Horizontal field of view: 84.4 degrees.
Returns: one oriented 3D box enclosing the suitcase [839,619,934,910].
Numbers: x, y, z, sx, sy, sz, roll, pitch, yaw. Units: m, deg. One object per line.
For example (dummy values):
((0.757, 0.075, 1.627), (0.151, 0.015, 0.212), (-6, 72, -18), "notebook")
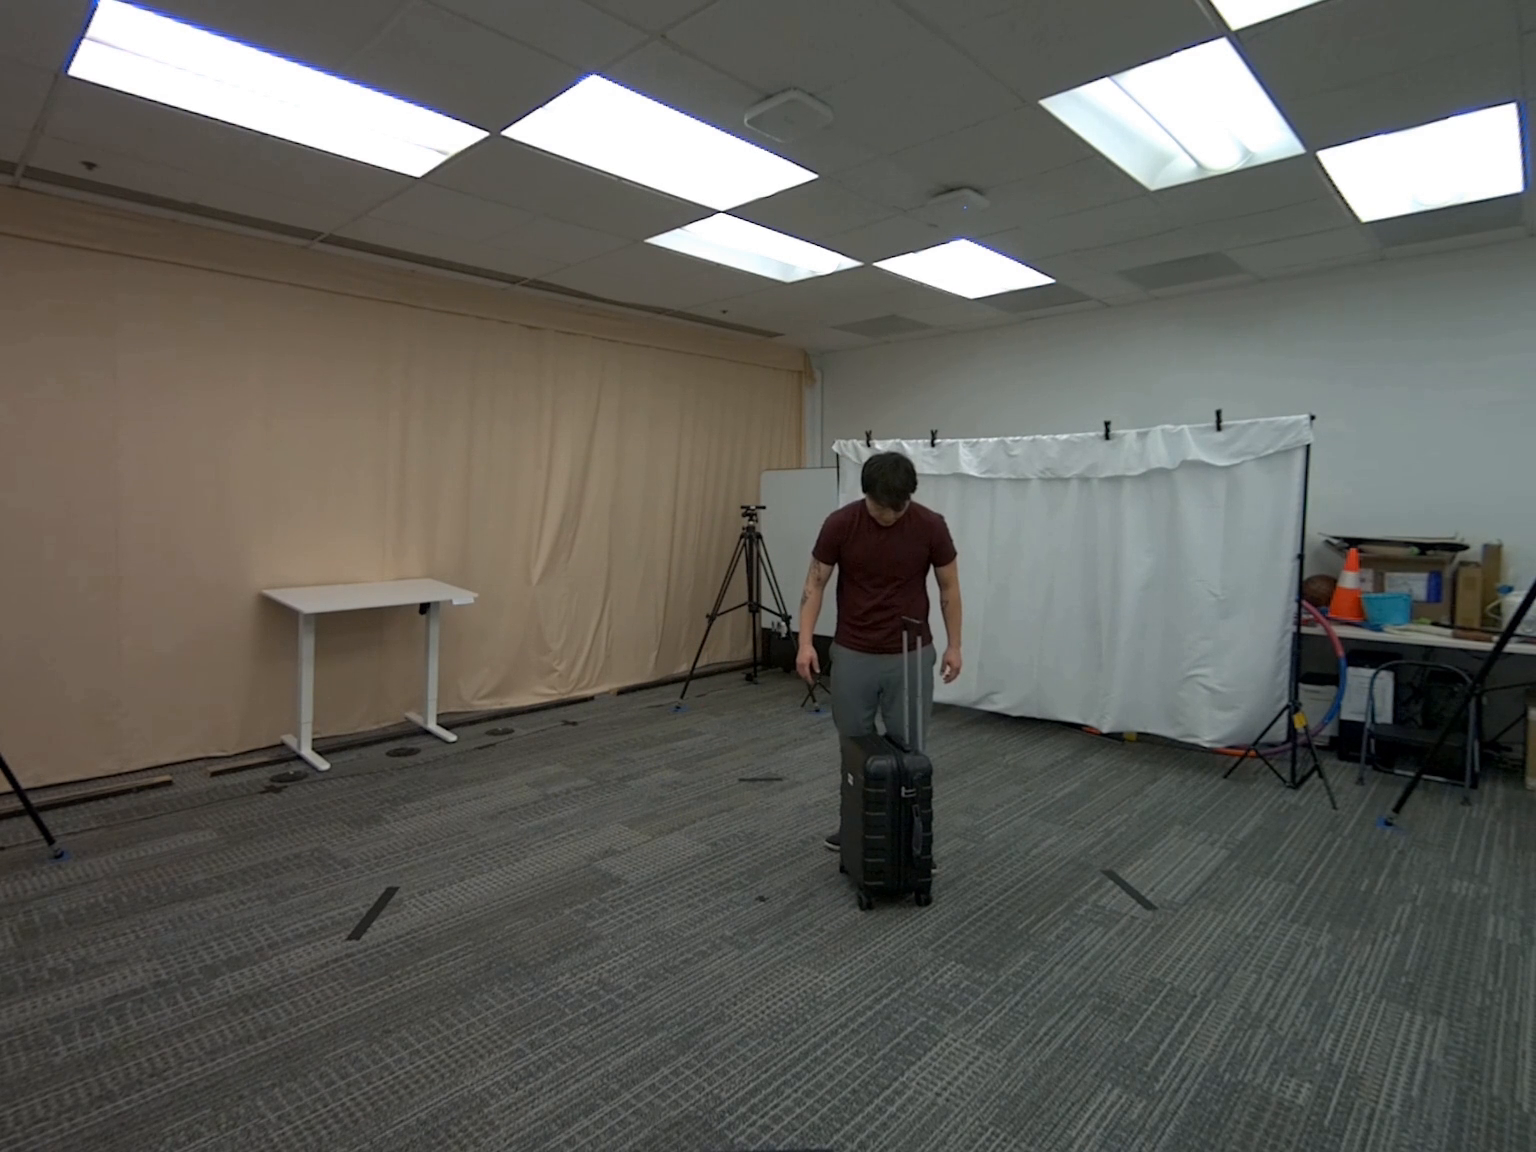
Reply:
((0.424, 0.667, 3.018), (0.255, 0.976, 0.388), (0, 4, -9), "suitcase")
